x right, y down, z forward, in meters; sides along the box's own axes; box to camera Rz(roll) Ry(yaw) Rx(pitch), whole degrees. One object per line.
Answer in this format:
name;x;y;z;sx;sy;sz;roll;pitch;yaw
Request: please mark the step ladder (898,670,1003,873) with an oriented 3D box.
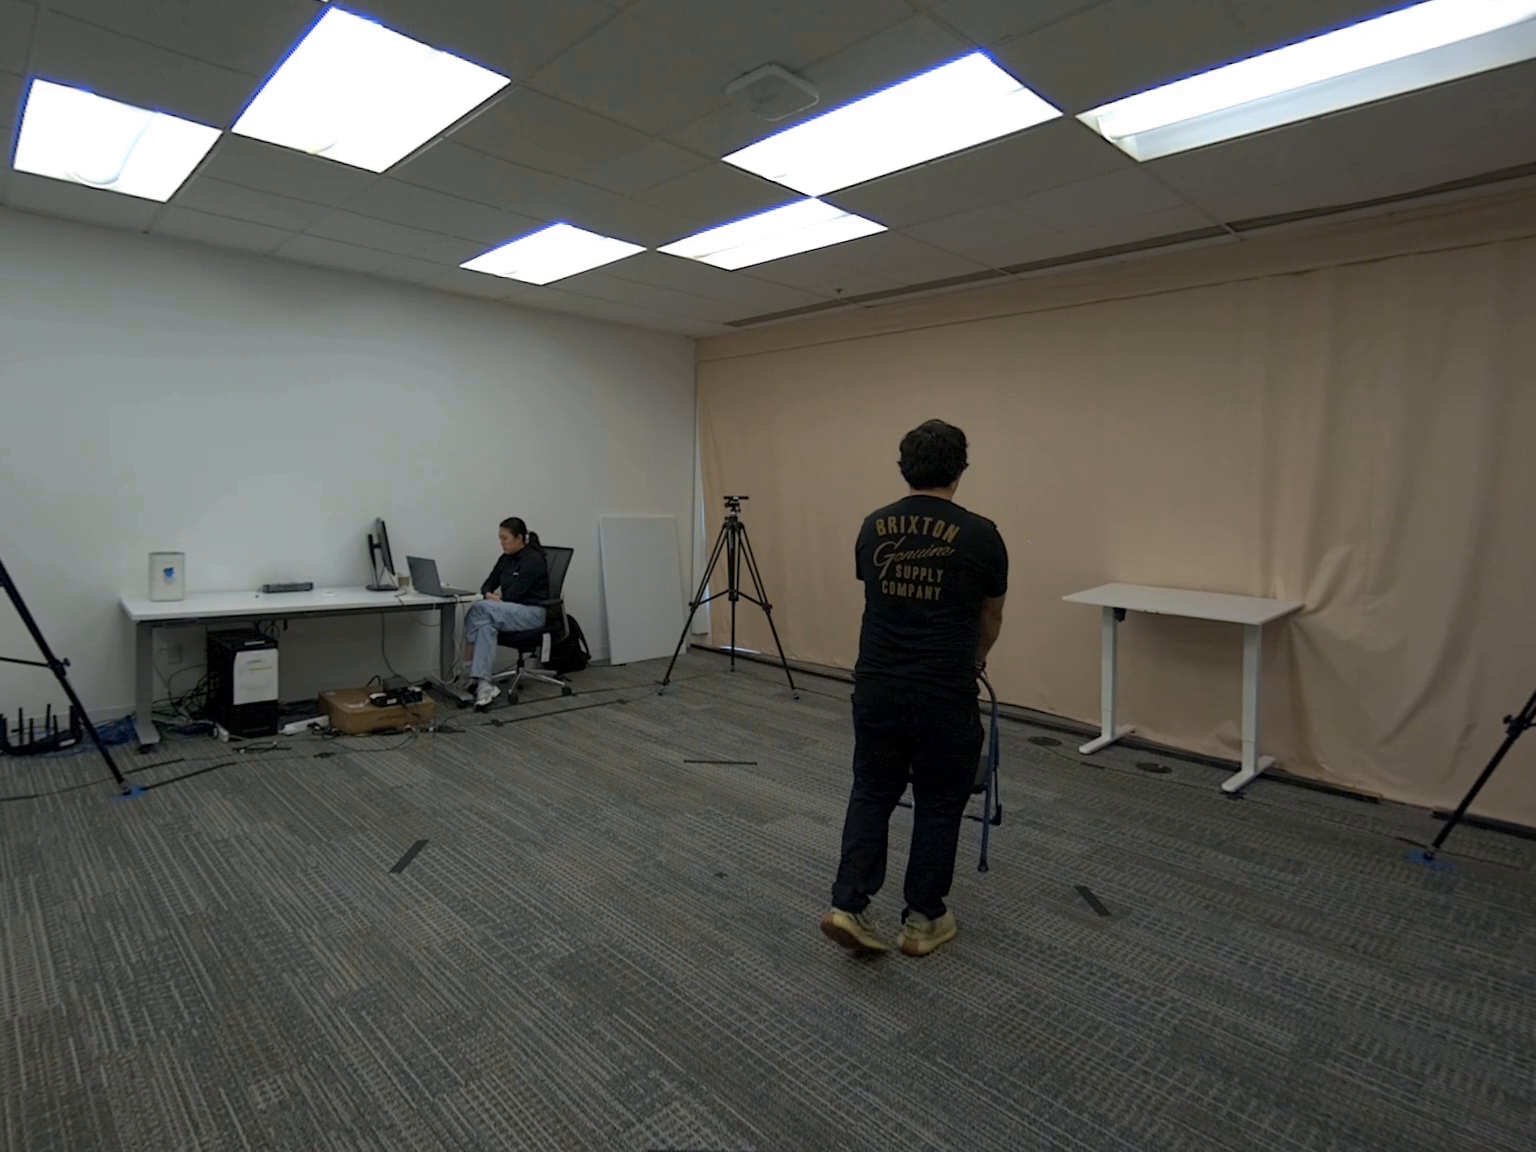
step ladder;0.581;0.619;2.915;0.439;0.601;0.345;4;12;25
